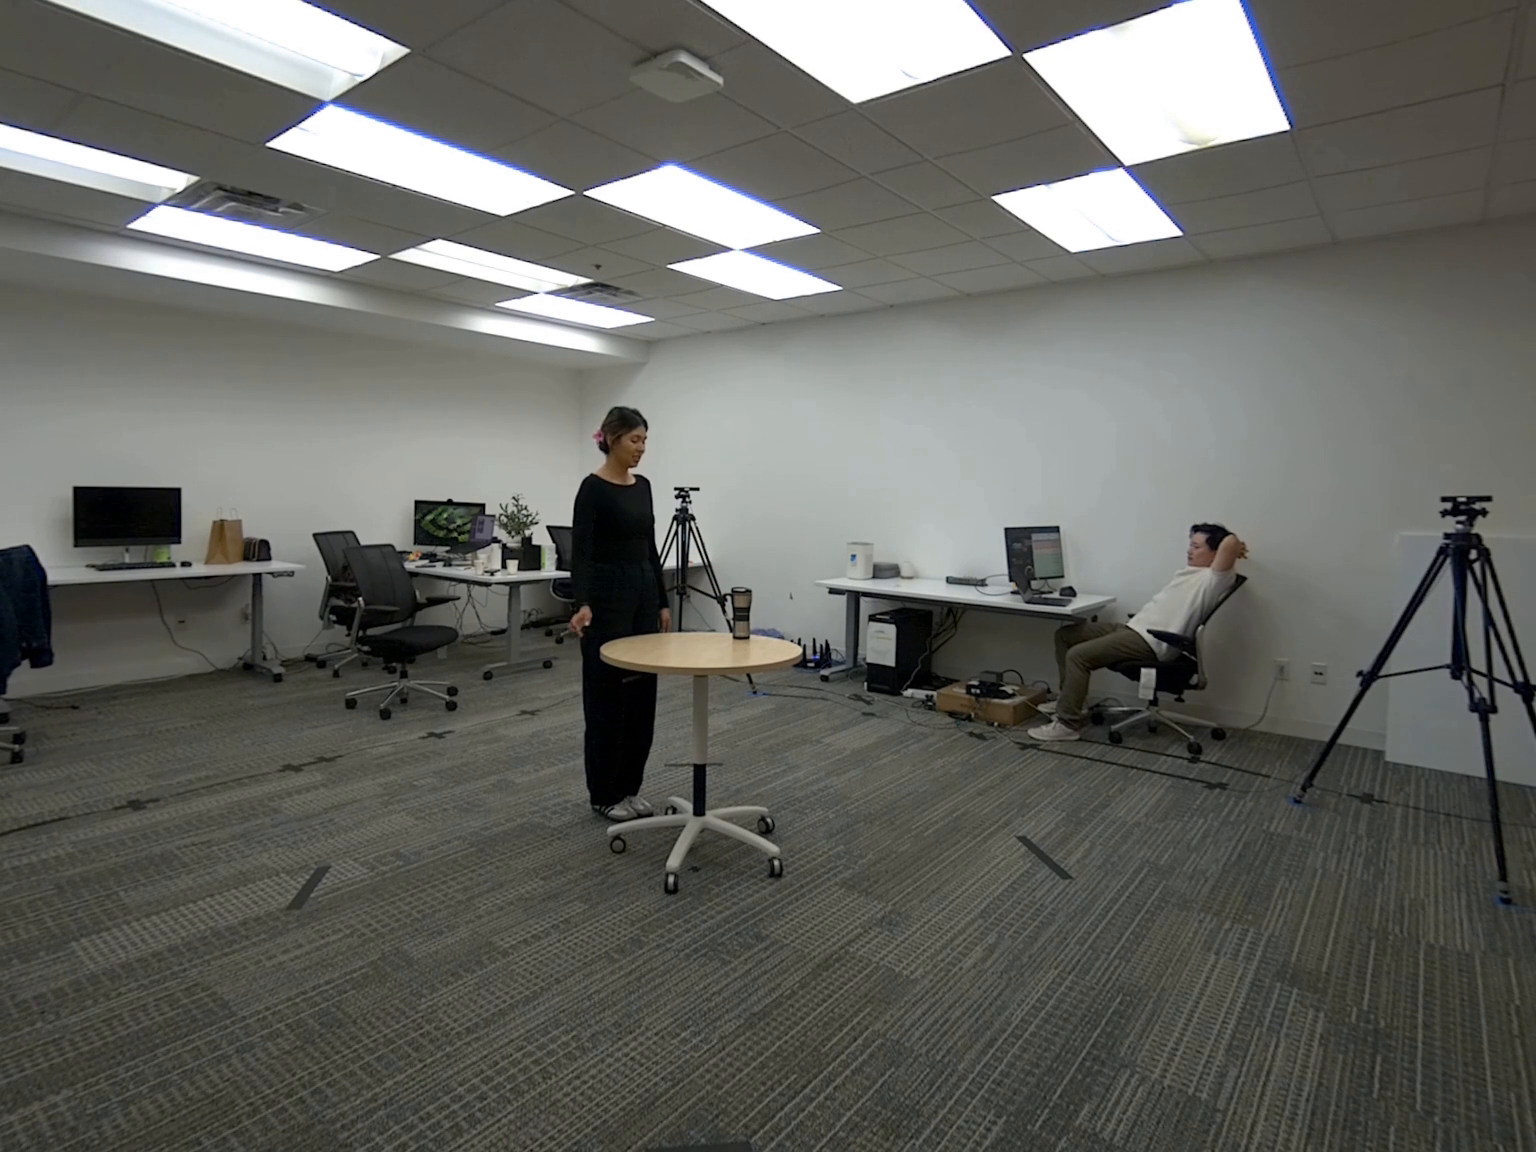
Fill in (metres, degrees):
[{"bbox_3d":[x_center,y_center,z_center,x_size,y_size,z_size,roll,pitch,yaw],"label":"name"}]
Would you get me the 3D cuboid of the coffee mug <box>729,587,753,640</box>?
[{"bbox_3d":[-0.131,0.149,3.481,0.126,0.201,0.085,8,10,38],"label":"coffee mug"}]
